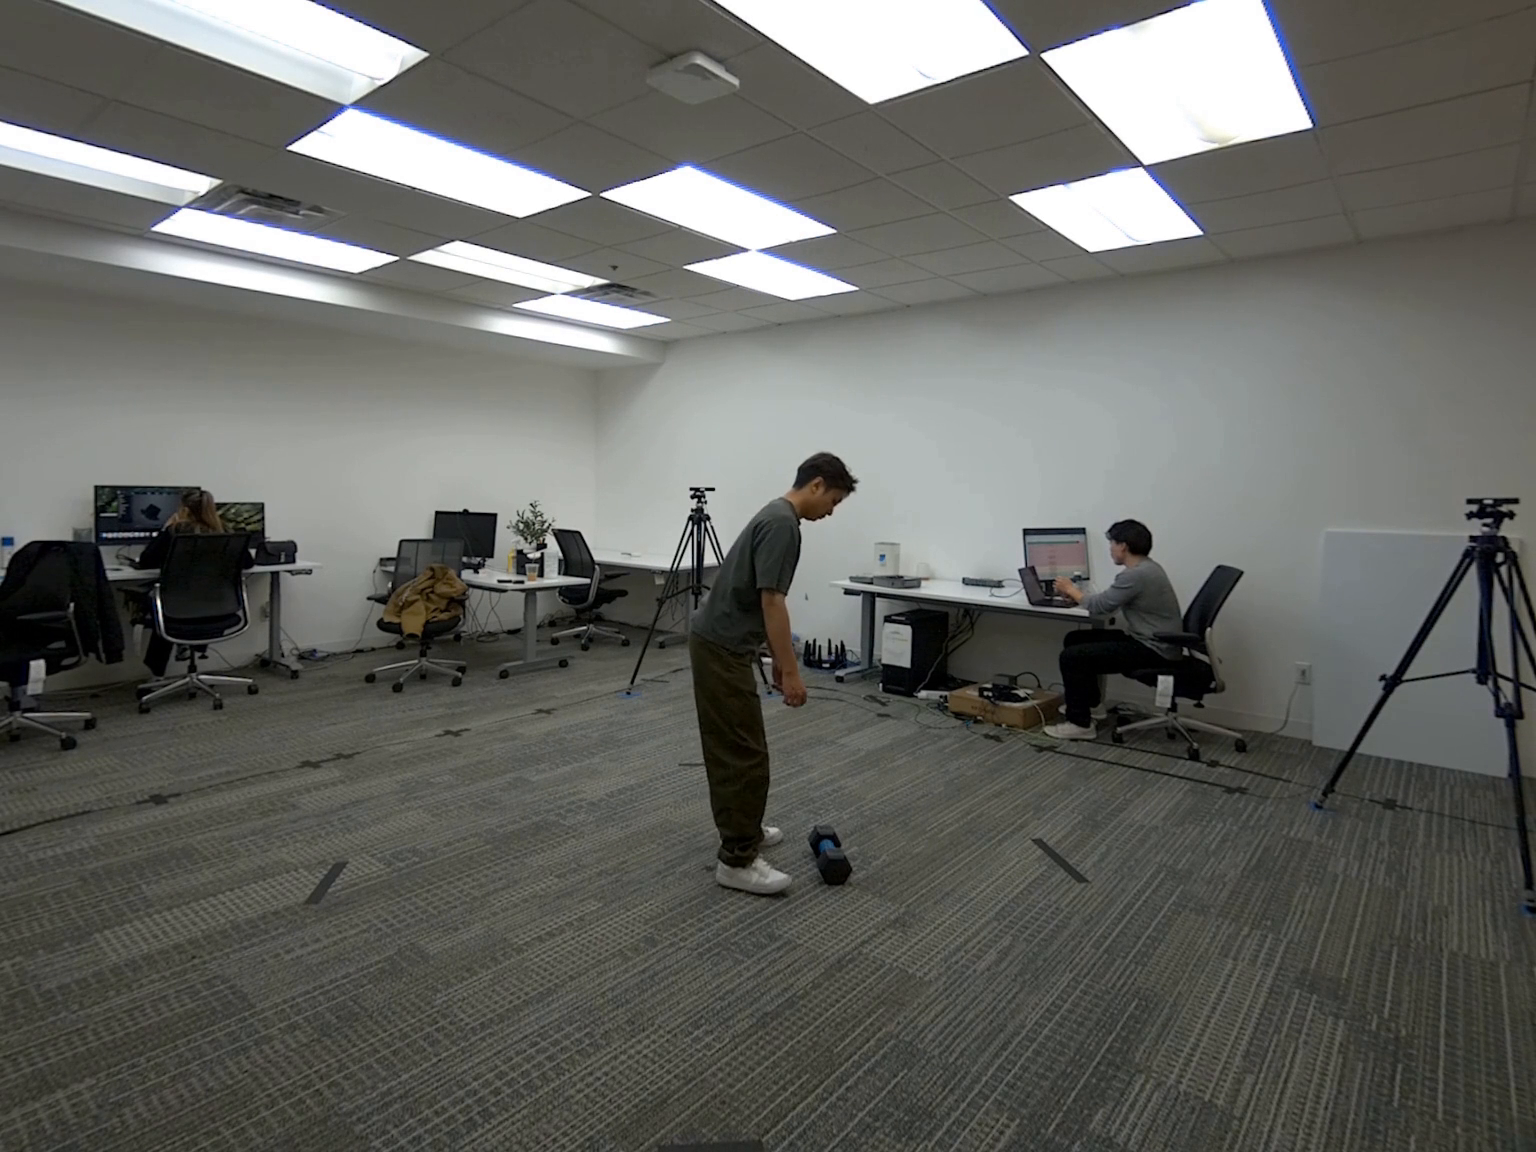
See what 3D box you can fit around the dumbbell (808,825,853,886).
[{"bbox_3d":[0.225,1.025,3.139,0.108,0.122,0.297,-29,9,-4],"label":"dumbbell"}]
